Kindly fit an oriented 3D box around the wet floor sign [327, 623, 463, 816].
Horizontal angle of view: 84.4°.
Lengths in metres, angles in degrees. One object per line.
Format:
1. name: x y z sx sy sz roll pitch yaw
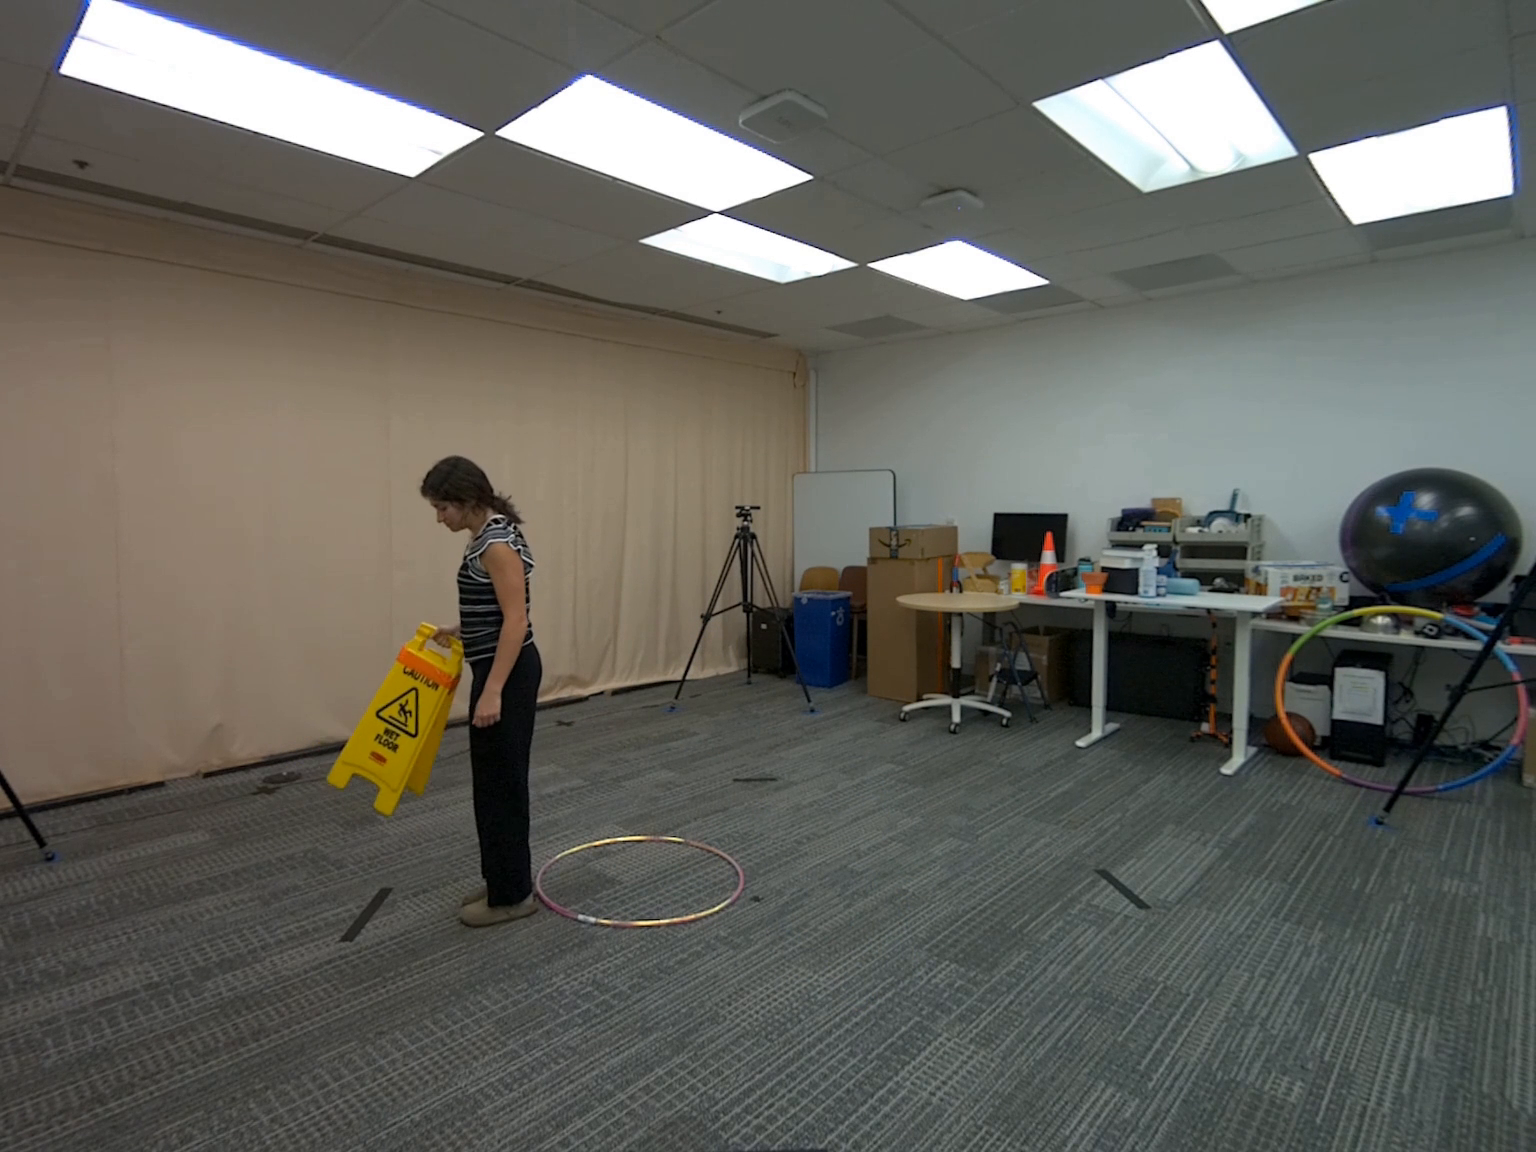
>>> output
1. wet floor sign: -1.335 0.501 3.099 0.284 0.645 0.288 24 4 5
